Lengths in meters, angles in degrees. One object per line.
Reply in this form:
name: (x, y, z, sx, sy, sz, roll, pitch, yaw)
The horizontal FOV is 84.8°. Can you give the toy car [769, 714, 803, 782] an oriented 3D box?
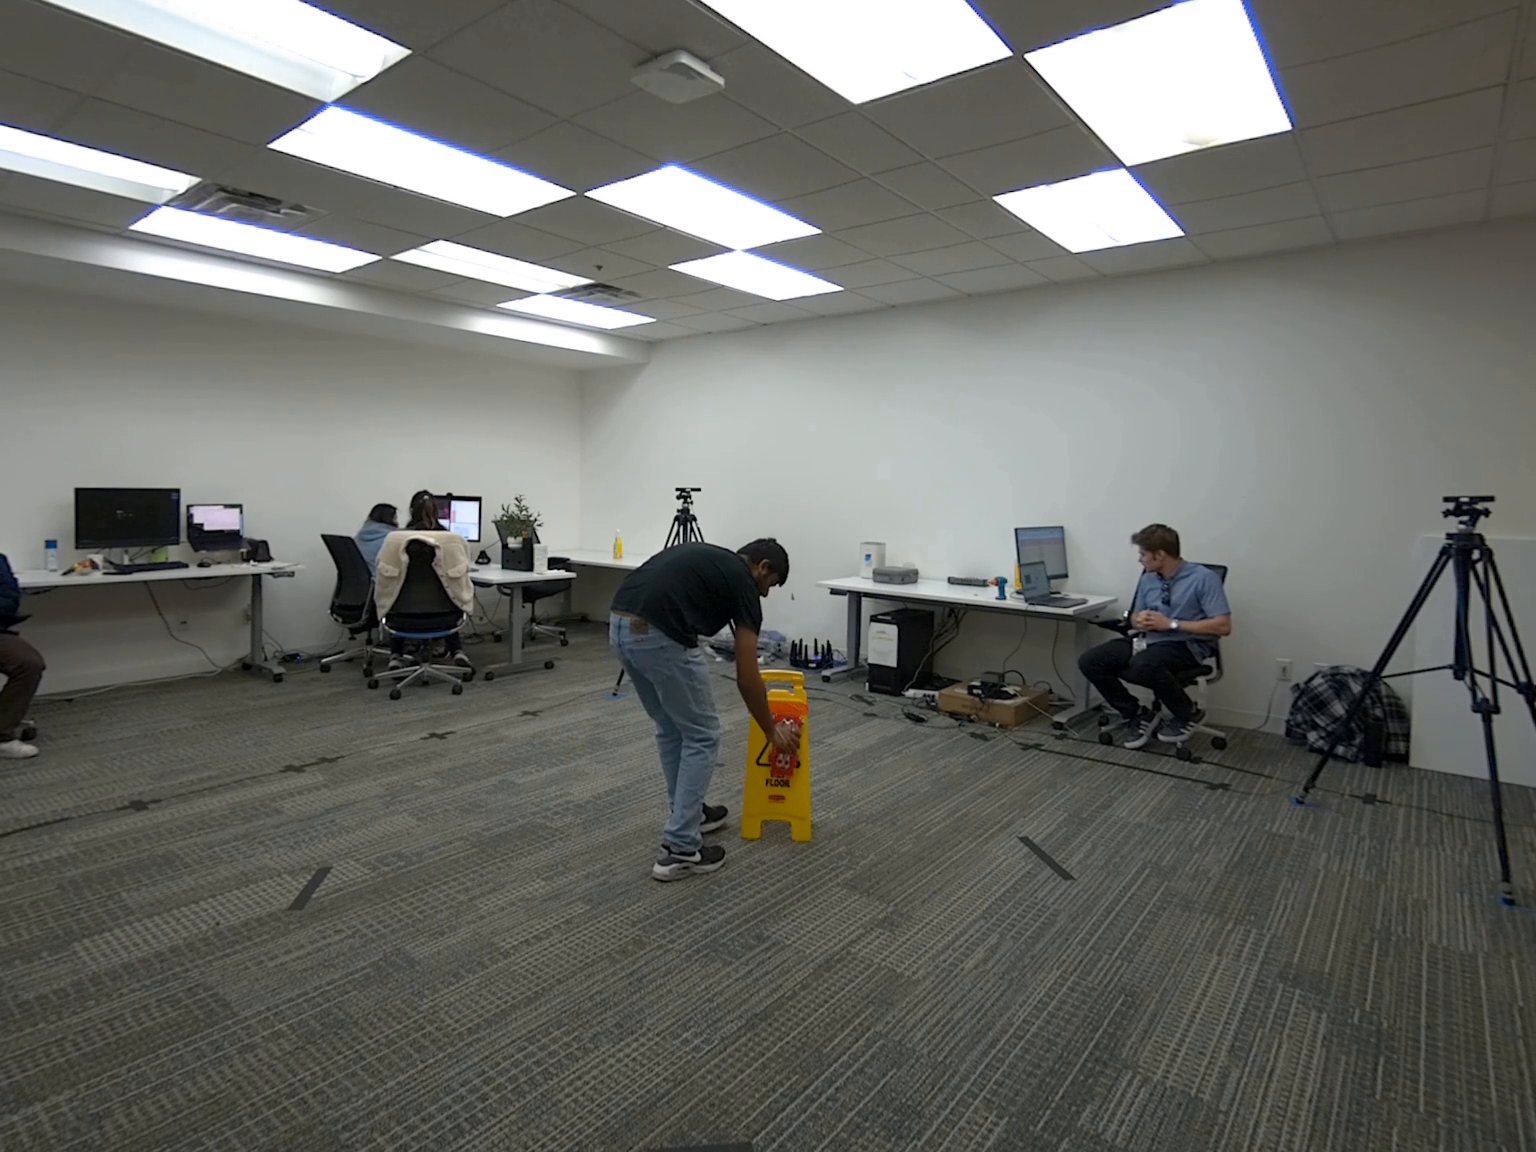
toy car: (0.061, 0.683, 3.388, 0.131, 0.258, 0.081, 4, -17, 4)
